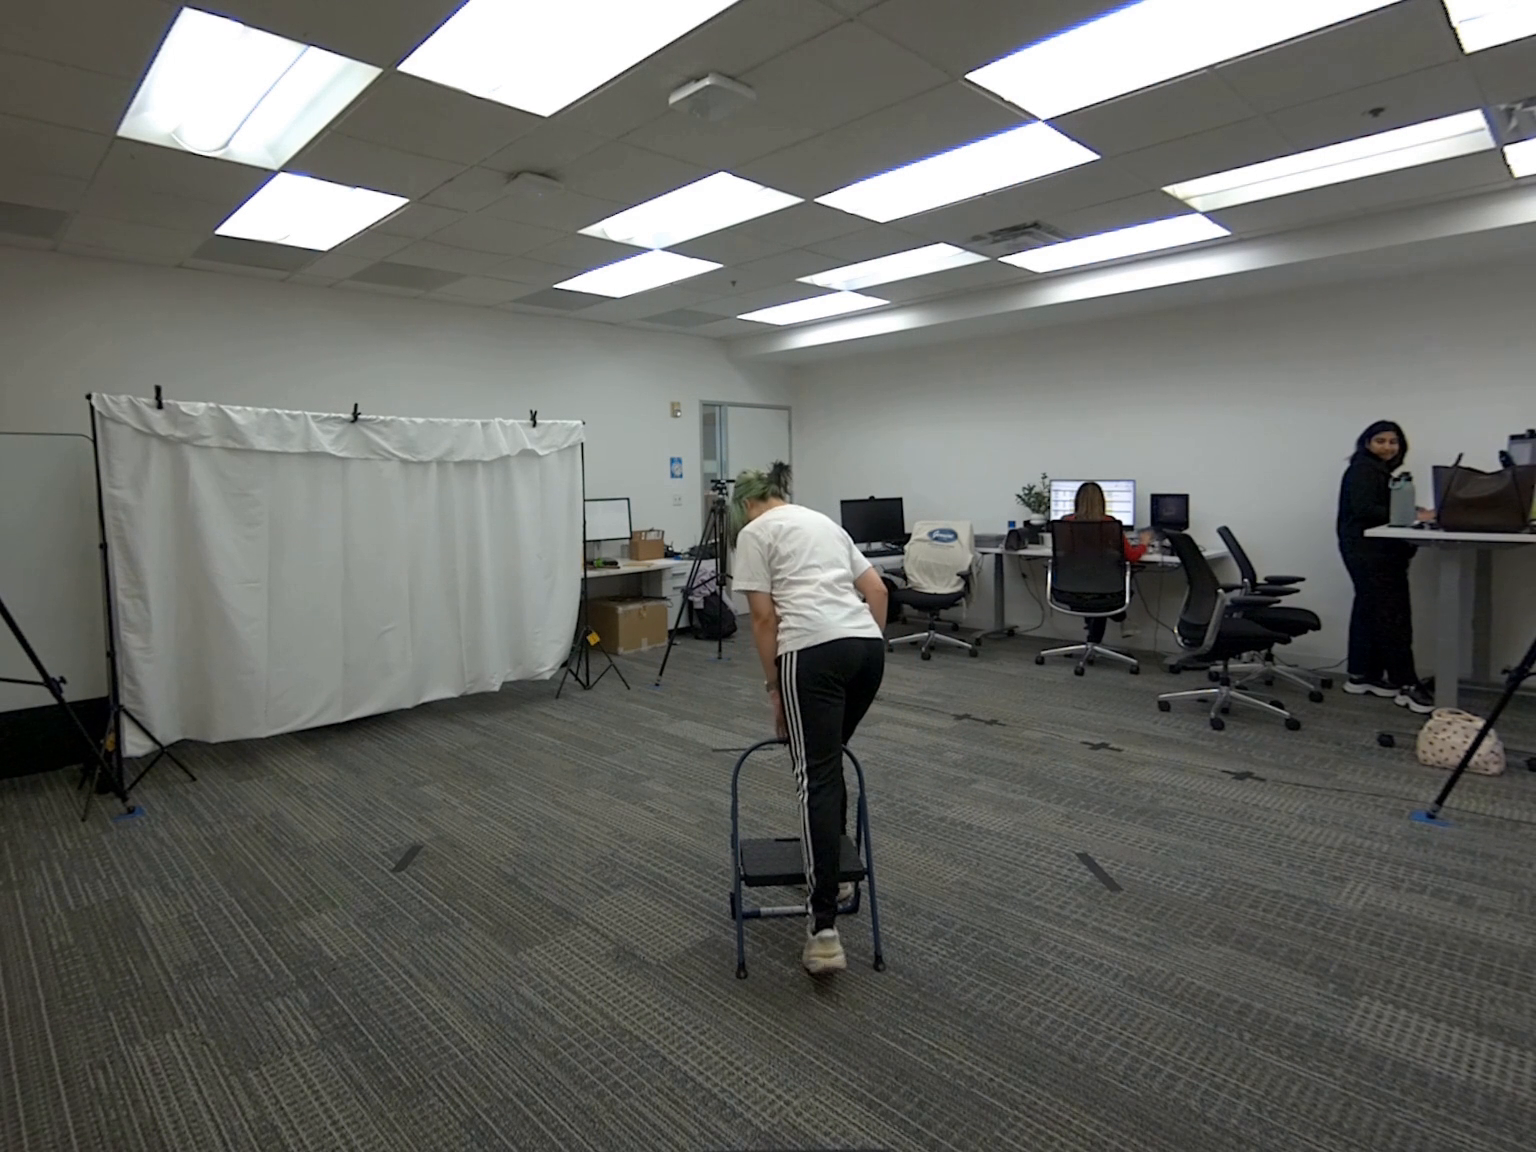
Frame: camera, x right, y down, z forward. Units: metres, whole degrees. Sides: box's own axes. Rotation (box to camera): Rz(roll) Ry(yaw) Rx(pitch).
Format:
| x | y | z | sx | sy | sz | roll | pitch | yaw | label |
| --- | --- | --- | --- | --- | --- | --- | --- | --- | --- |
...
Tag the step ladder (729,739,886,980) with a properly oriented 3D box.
| x | y | z | sx | sy | sz | roll | pitch | yaw | label |
| --- | --- | --- | --- | --- | --- | --- | --- | --- | --- |
| 0.103 | 0.809 | 2.560 | 0.429 | 0.604 | 0.352 | -1 | 4 | -5 | step ladder |
